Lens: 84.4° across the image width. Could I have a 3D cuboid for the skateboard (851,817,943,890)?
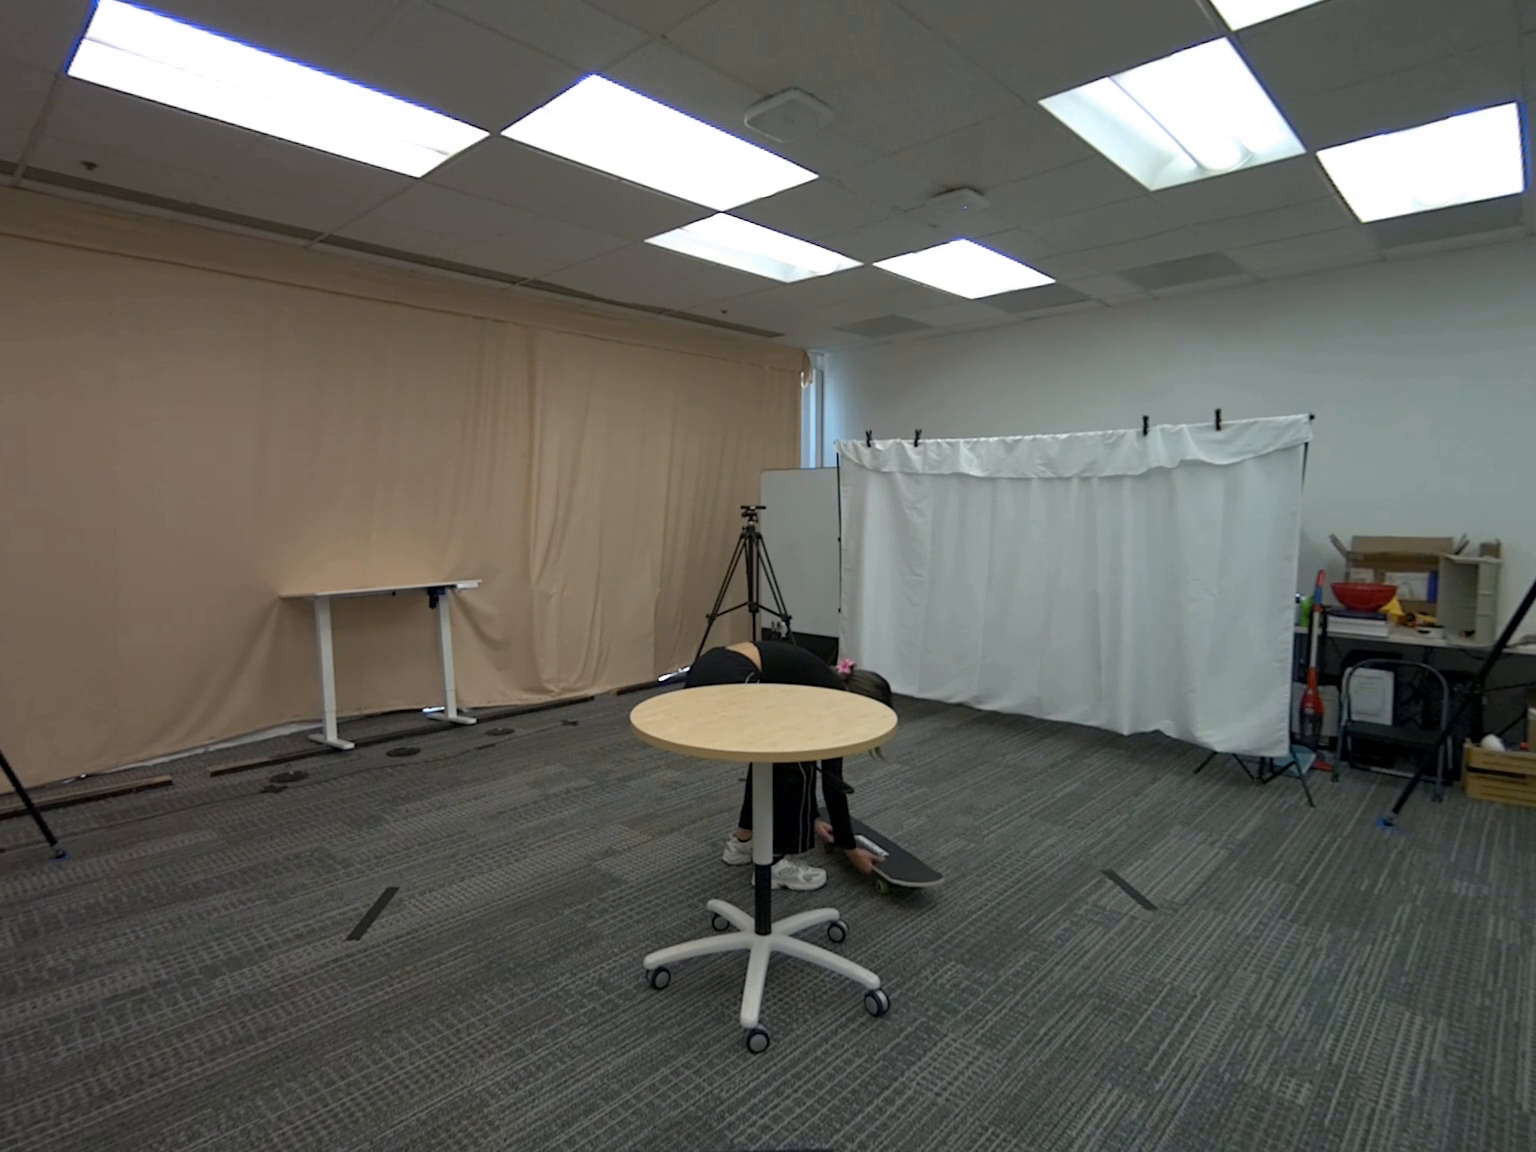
[{"bbox_3d":[0.386,1.053,3.220,0.189,0.110,0.806,-2,5,-25],"label":"skateboard"}]
